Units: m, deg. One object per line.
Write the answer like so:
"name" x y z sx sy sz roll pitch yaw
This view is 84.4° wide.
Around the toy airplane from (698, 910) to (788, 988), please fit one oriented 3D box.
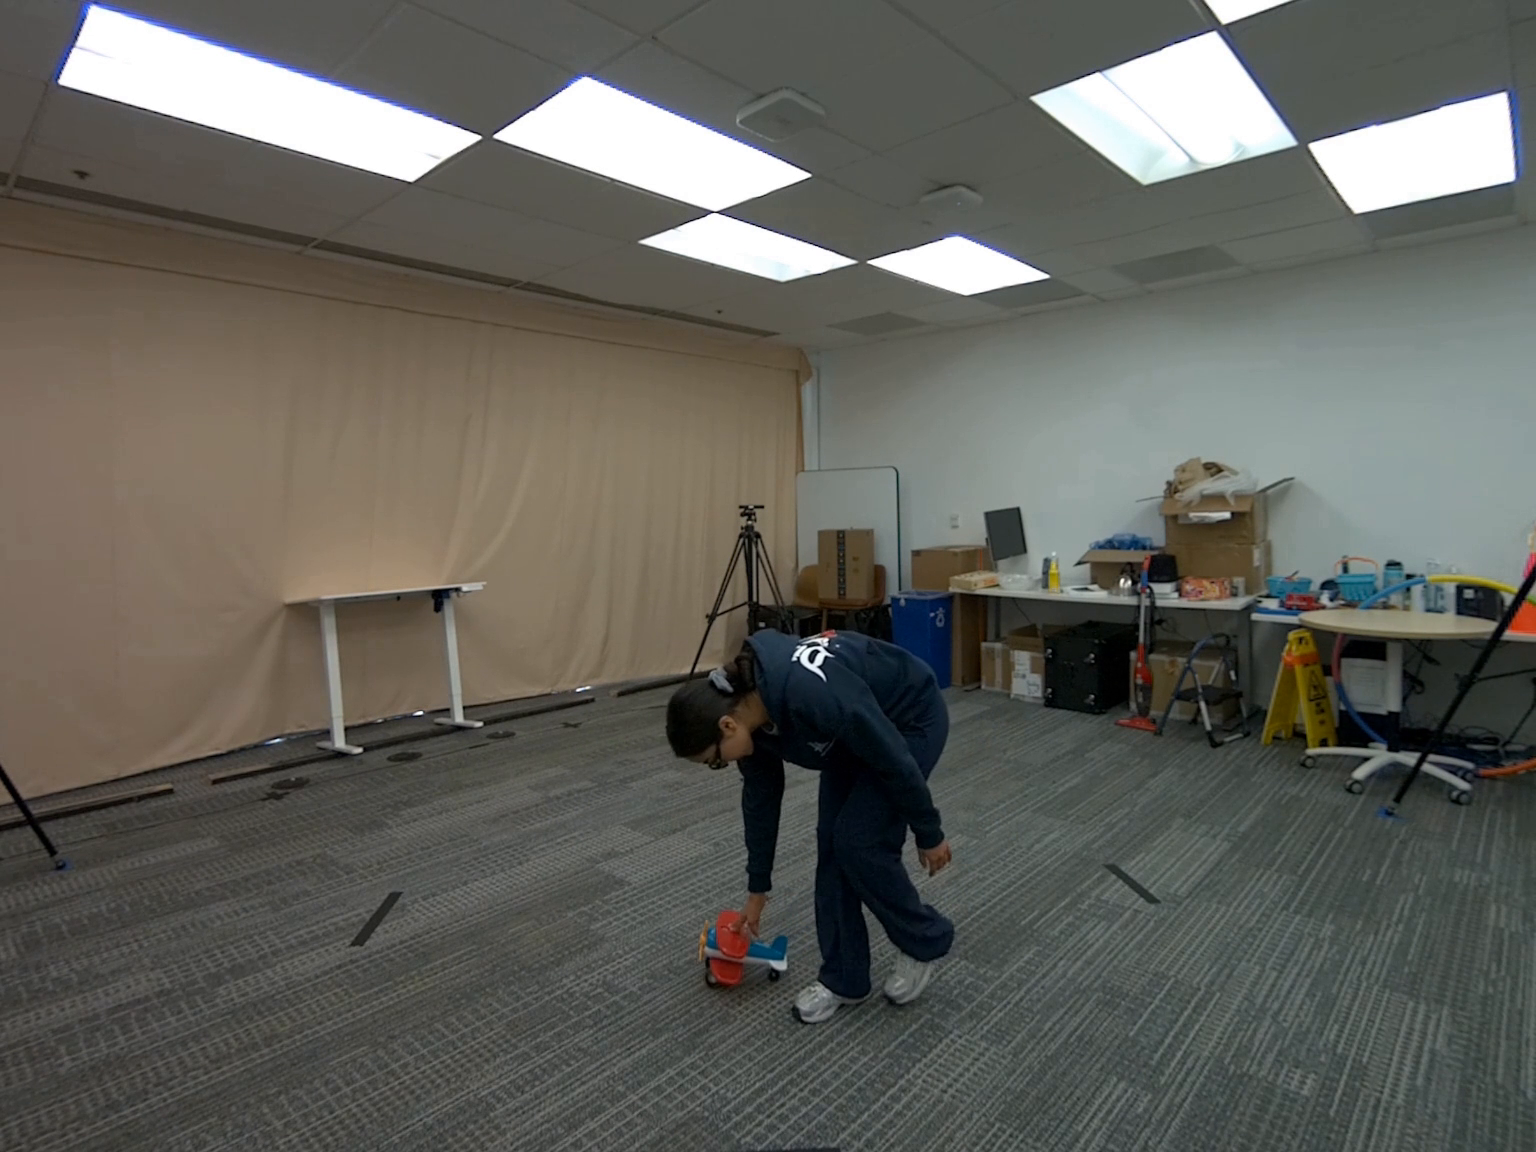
"toy airplane" -0.076 1.113 2.496 0.252 0.156 0.258 -4 5 -29
